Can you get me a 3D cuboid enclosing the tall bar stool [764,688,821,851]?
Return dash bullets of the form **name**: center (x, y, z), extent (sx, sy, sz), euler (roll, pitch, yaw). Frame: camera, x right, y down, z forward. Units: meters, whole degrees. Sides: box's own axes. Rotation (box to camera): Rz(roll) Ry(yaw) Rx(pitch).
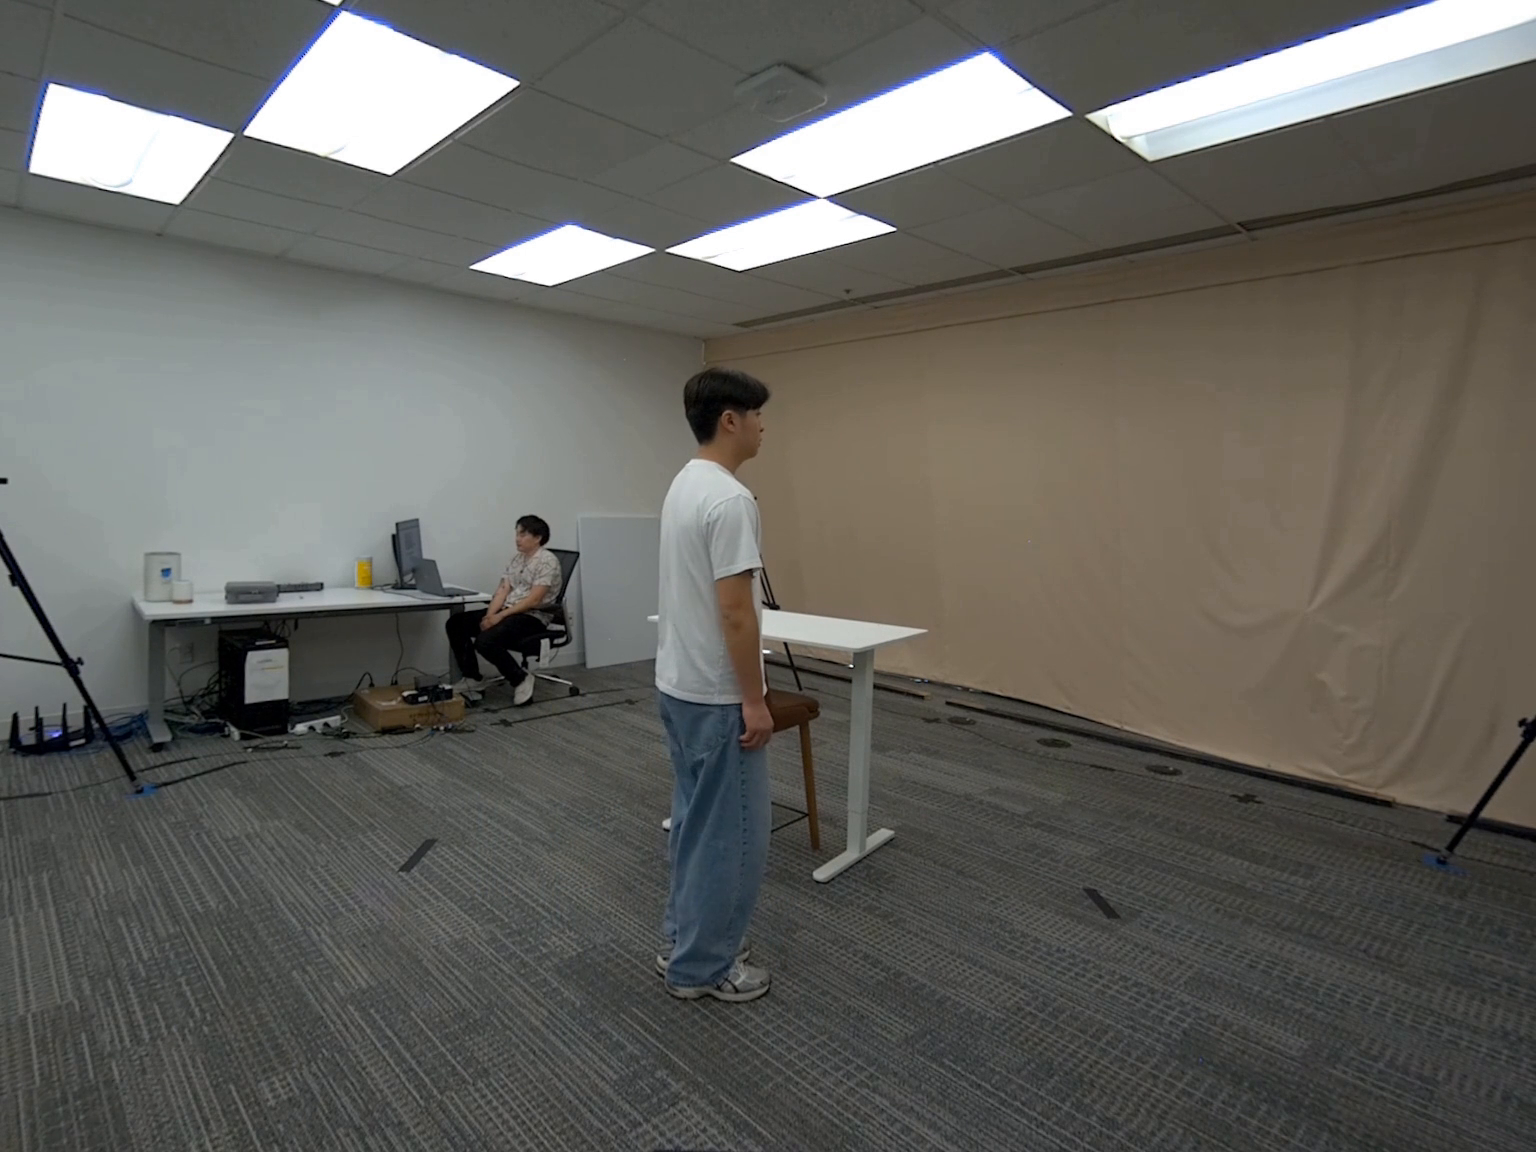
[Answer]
- **tall bar stool**: center (-0.081, 0.662, 3.288), extent (0.468, 0.886, 0.458), euler (4, 7, 40)
